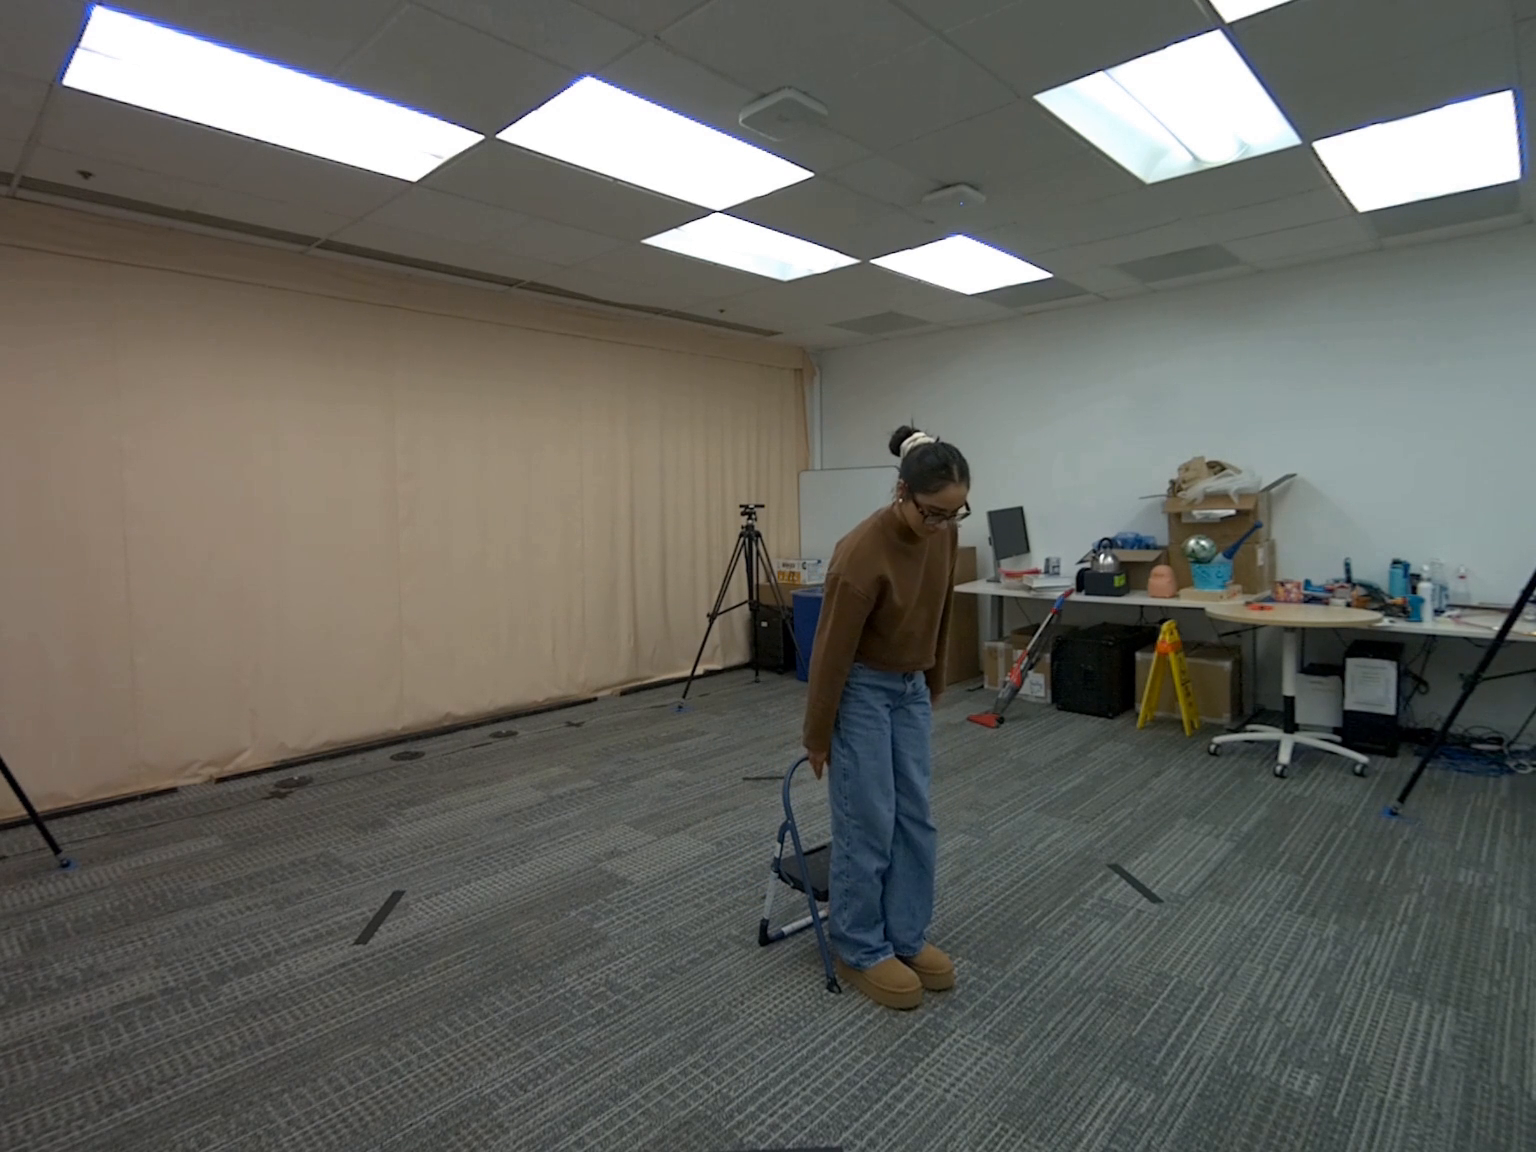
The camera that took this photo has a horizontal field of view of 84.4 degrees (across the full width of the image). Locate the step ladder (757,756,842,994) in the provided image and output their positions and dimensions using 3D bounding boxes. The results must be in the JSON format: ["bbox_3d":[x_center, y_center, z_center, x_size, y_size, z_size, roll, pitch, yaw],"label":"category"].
[{"bbox_3d":[0.229,0.862,2.644,0.417,0.605,0.361,-4,4,-41],"label":"step ladder"}]
